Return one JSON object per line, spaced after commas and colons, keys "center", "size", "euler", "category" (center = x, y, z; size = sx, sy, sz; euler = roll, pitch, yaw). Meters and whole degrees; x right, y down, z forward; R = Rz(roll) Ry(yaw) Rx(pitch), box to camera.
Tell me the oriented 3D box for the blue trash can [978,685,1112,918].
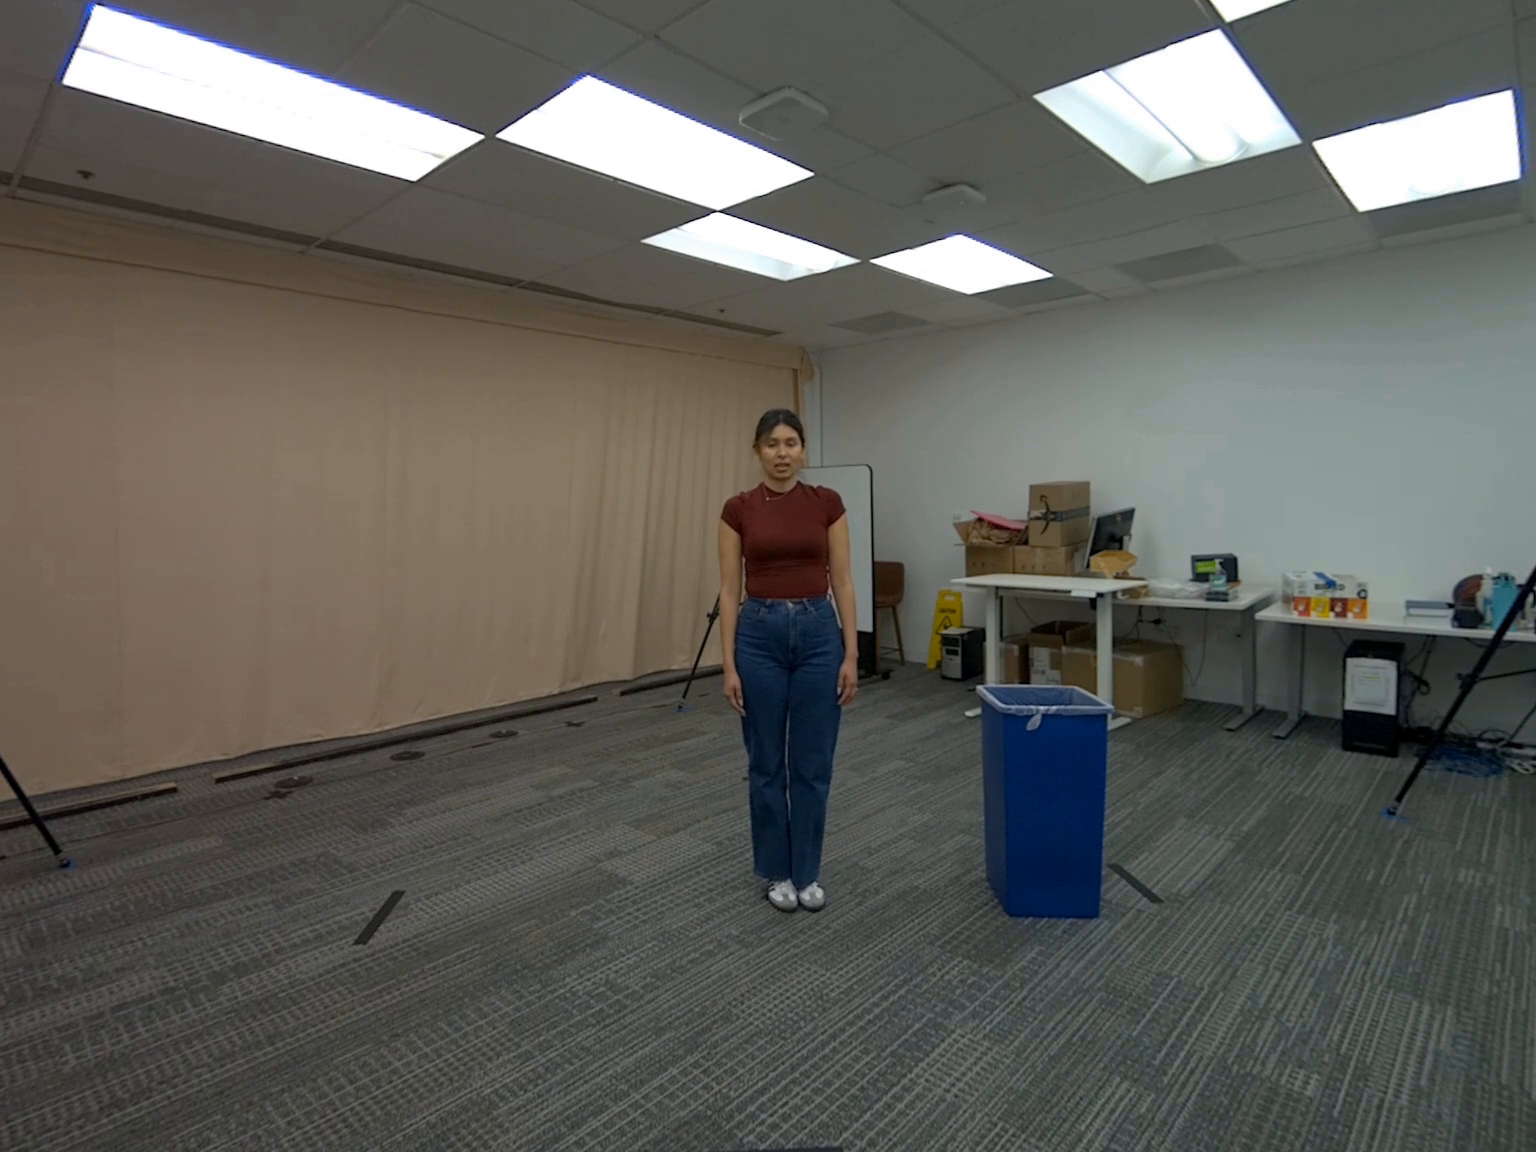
{"center": [0.955, 0.773, 2.937], "size": [0.379, 0.712, 0.374], "euler": [0, 3, 1], "category": "blue trash can"}
